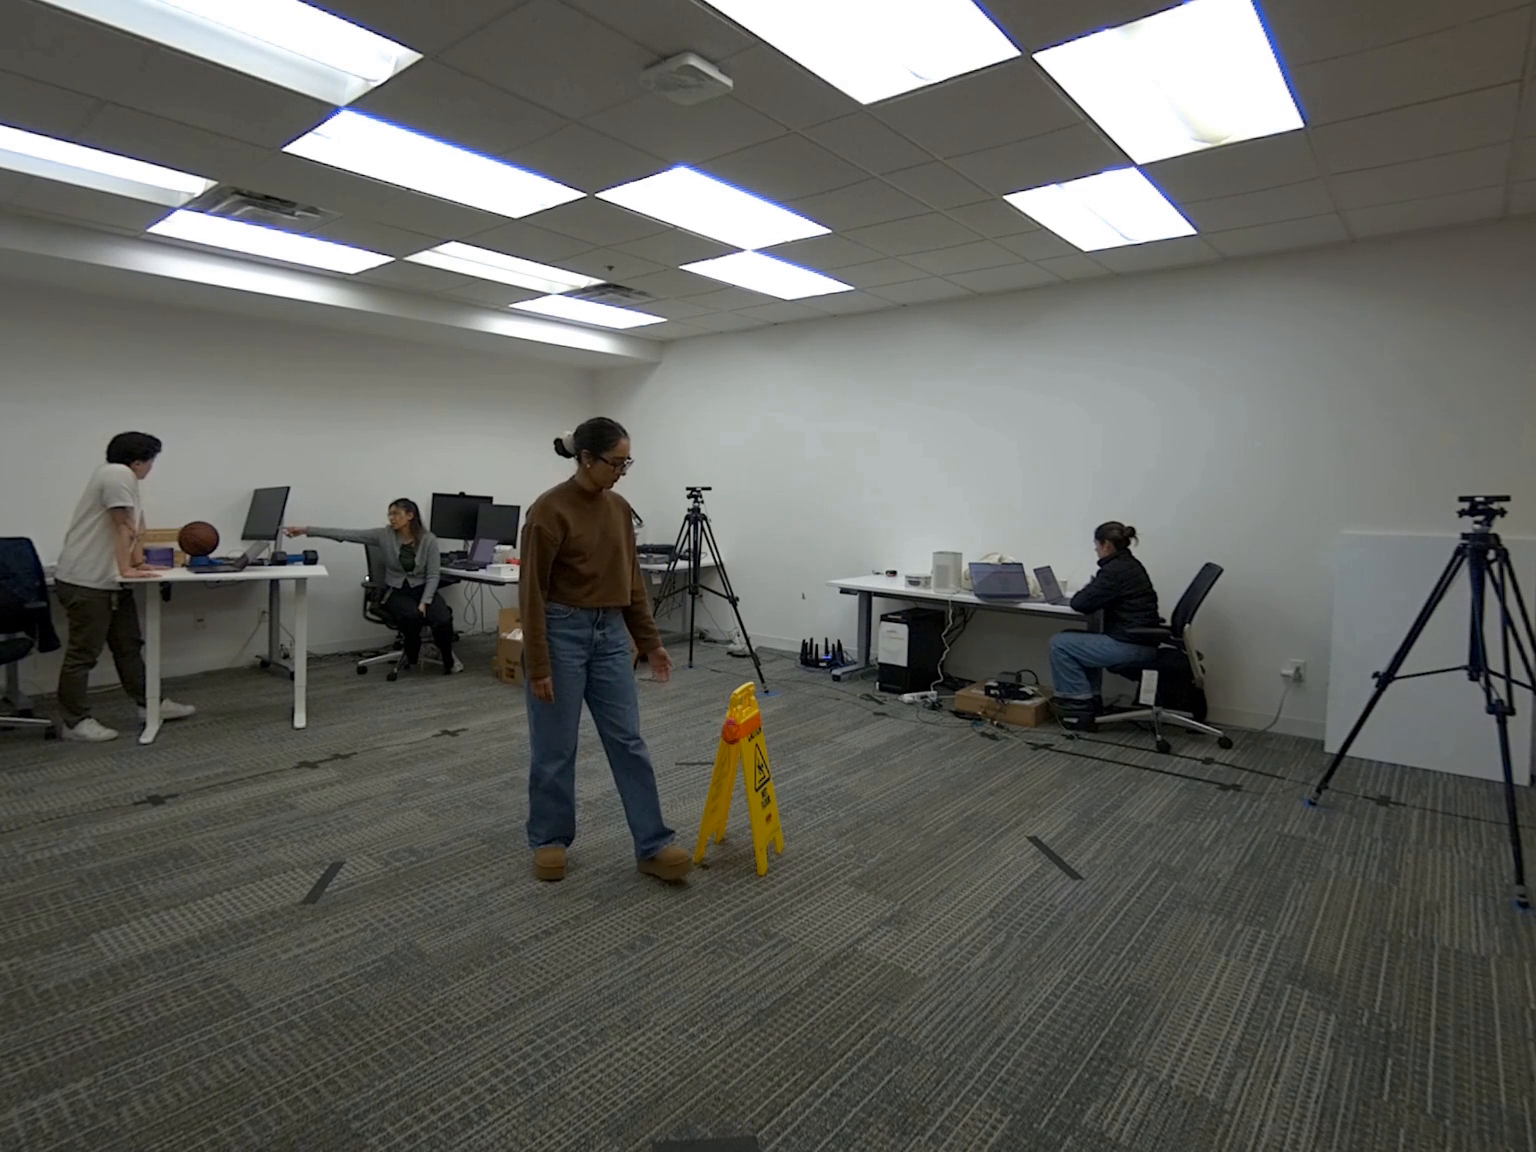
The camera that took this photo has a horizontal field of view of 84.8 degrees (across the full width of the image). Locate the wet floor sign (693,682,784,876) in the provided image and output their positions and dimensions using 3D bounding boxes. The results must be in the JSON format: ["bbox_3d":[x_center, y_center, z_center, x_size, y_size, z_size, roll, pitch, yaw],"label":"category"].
[{"bbox_3d":[-0.114,0.736,3.209,0.296,0.645,0.277,1,2,20],"label":"wet floor sign"}]
